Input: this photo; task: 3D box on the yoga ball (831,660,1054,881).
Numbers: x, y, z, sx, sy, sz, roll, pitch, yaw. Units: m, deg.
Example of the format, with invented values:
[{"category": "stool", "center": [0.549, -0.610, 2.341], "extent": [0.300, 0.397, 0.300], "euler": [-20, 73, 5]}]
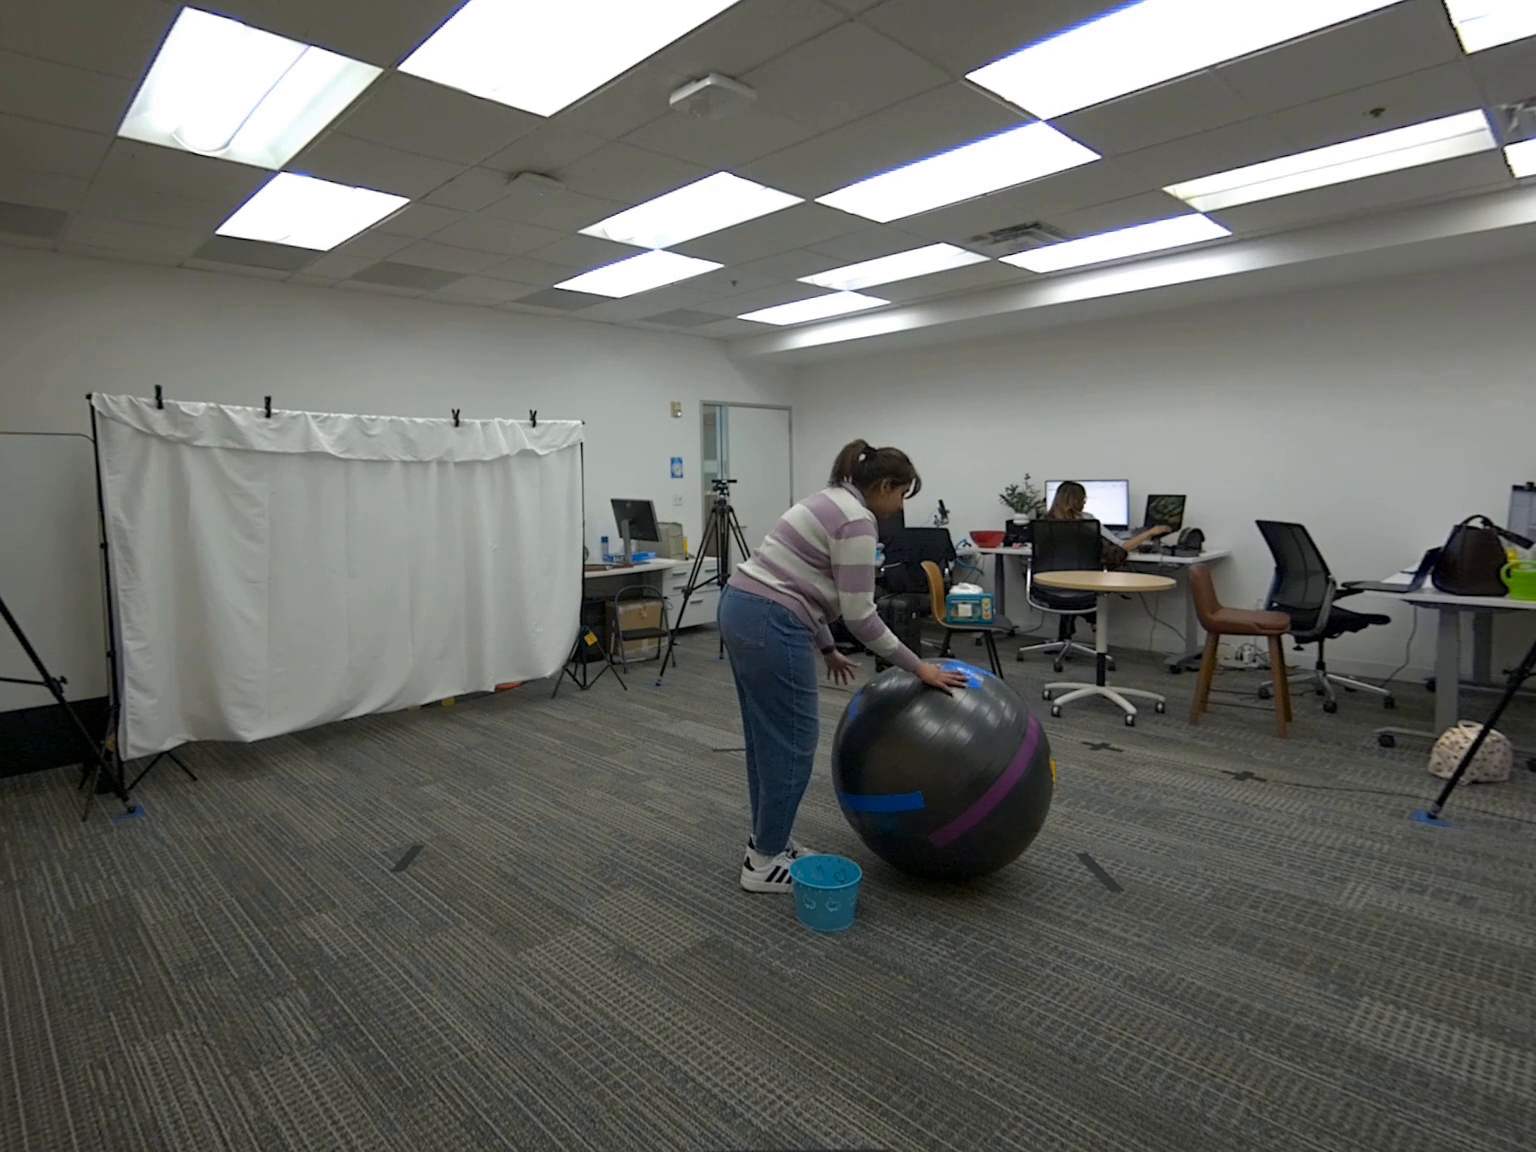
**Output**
[{"category": "yoga ball", "center": [0.616, 0.675, 3.015], "extent": [0.757, 0.755, 0.762], "euler": [-1, 5, -2]}]
